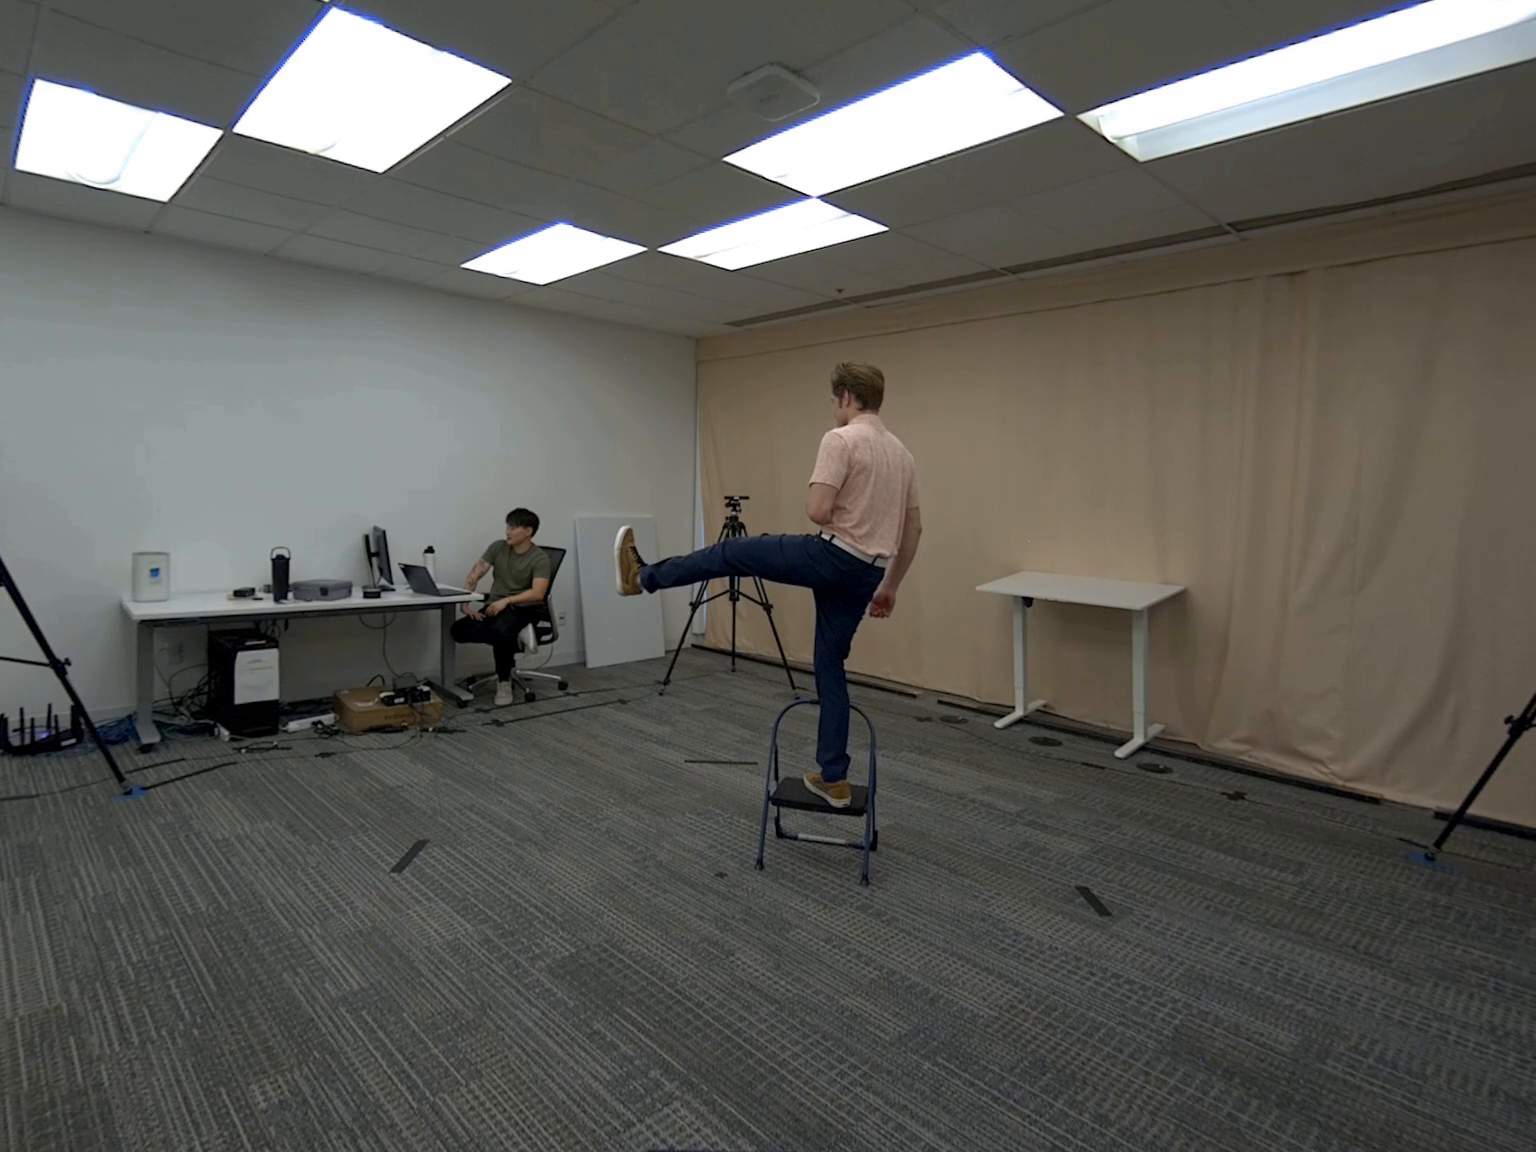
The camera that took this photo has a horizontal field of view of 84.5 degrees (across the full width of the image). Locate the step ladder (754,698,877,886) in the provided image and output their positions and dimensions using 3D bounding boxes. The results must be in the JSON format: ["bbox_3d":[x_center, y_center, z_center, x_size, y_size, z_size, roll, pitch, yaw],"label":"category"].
[{"bbox_3d":[0.201,0.799,3.251,0.436,0.605,0.346,2,3,15],"label":"step ladder"}]
